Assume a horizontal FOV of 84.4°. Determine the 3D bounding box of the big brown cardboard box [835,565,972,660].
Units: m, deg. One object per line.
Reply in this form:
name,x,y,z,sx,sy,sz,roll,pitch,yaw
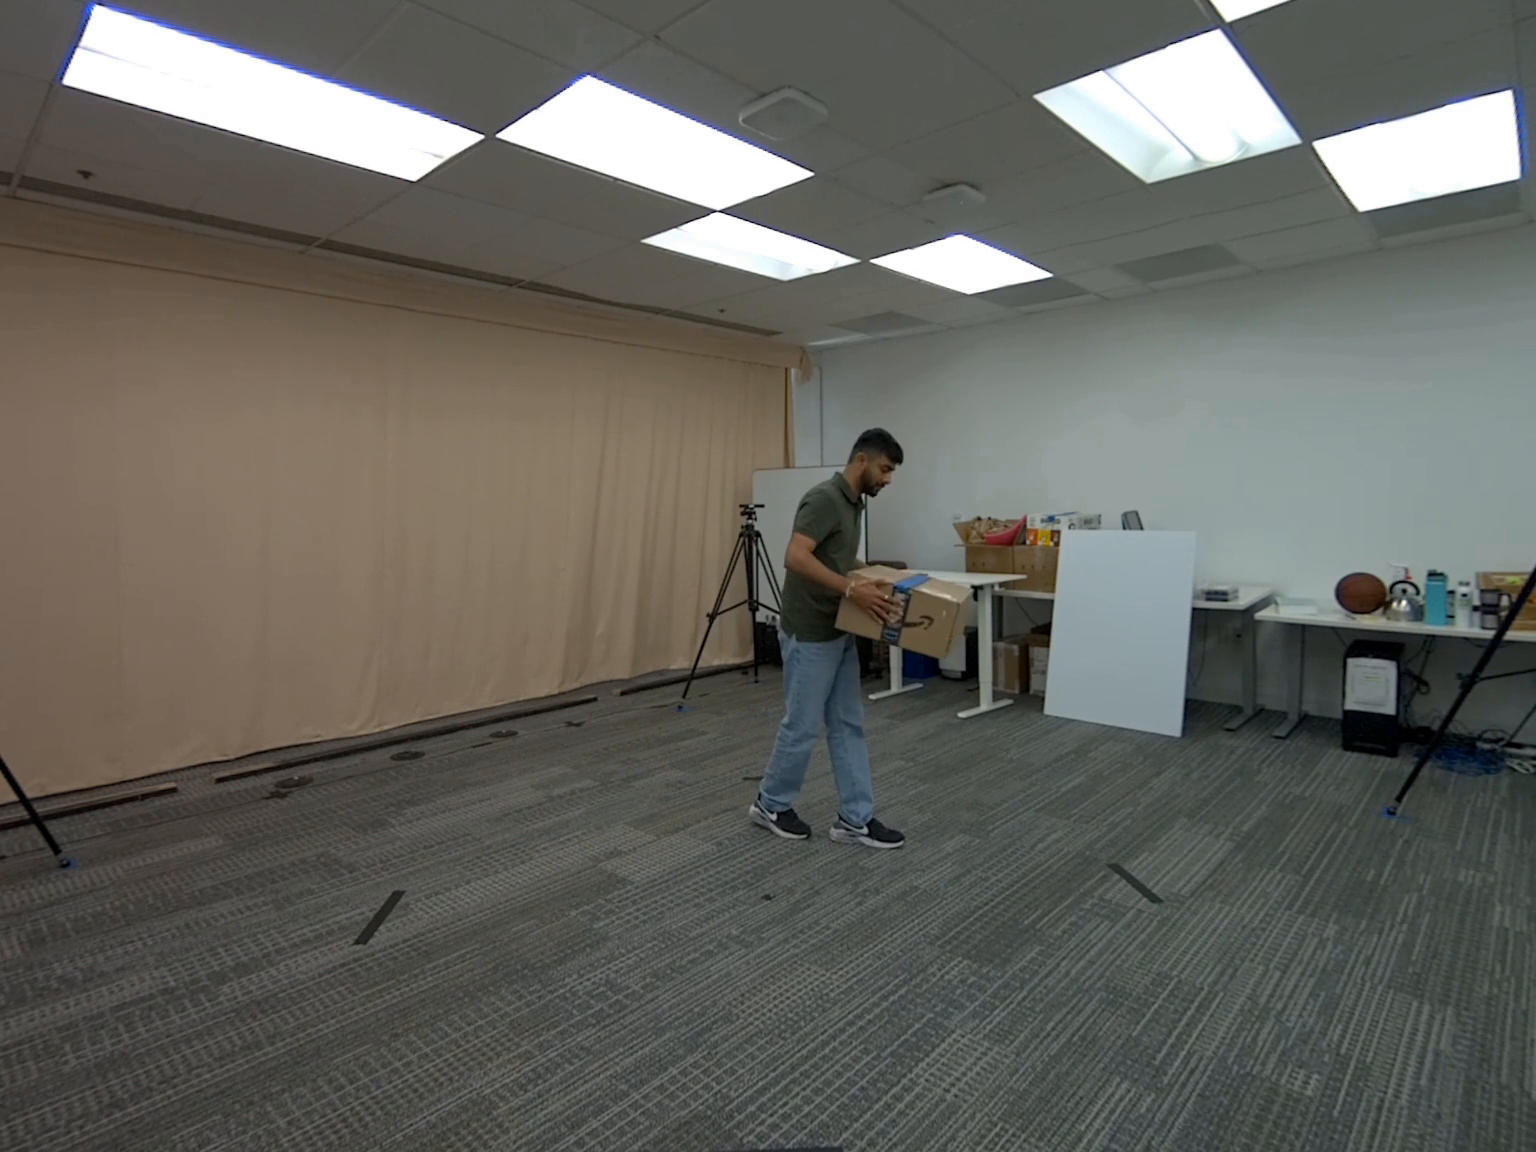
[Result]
big brown cardboard box,0.546,0.127,3.309,0.427,0.232,0.577,14,8,19
